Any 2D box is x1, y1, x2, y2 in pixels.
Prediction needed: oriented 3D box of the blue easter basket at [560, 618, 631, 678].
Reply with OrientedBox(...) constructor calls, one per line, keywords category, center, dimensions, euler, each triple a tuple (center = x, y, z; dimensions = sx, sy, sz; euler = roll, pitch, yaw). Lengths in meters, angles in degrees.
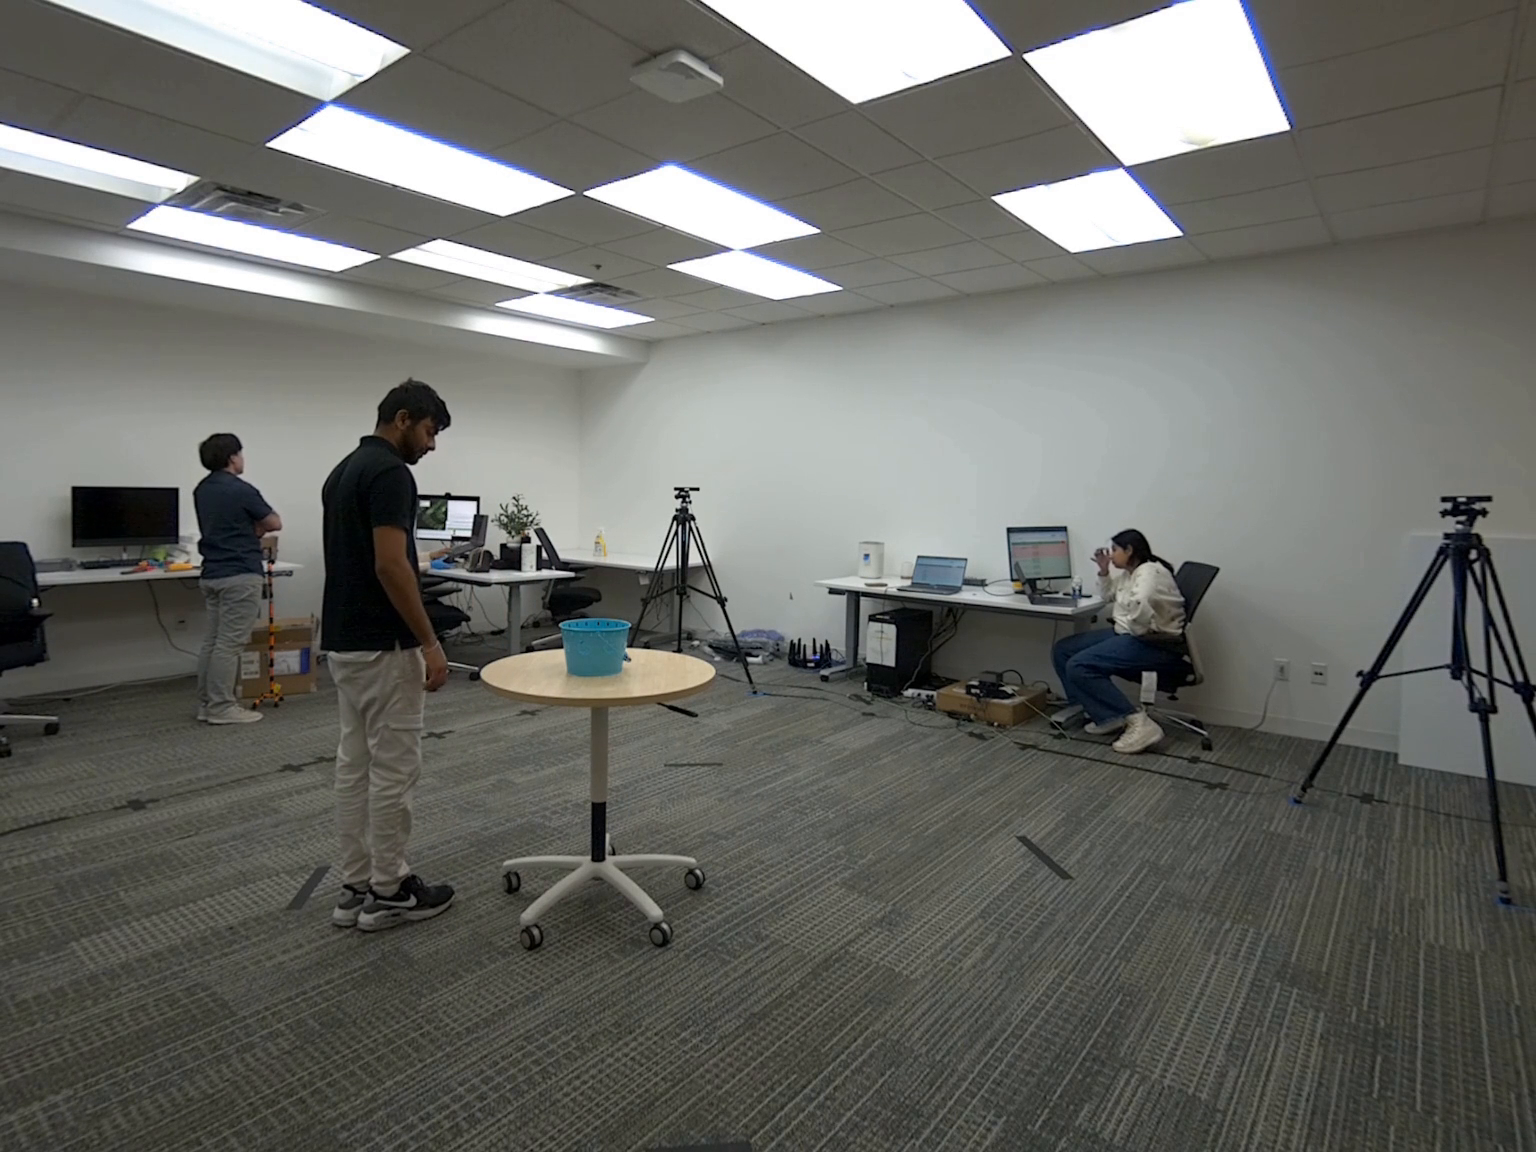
OrientedBox(category="blue easter basket", center=(-0.580, 0.239, 2.789), dimensions=(0.243, 0.155, 0.245), euler=(0, 7, -2))
